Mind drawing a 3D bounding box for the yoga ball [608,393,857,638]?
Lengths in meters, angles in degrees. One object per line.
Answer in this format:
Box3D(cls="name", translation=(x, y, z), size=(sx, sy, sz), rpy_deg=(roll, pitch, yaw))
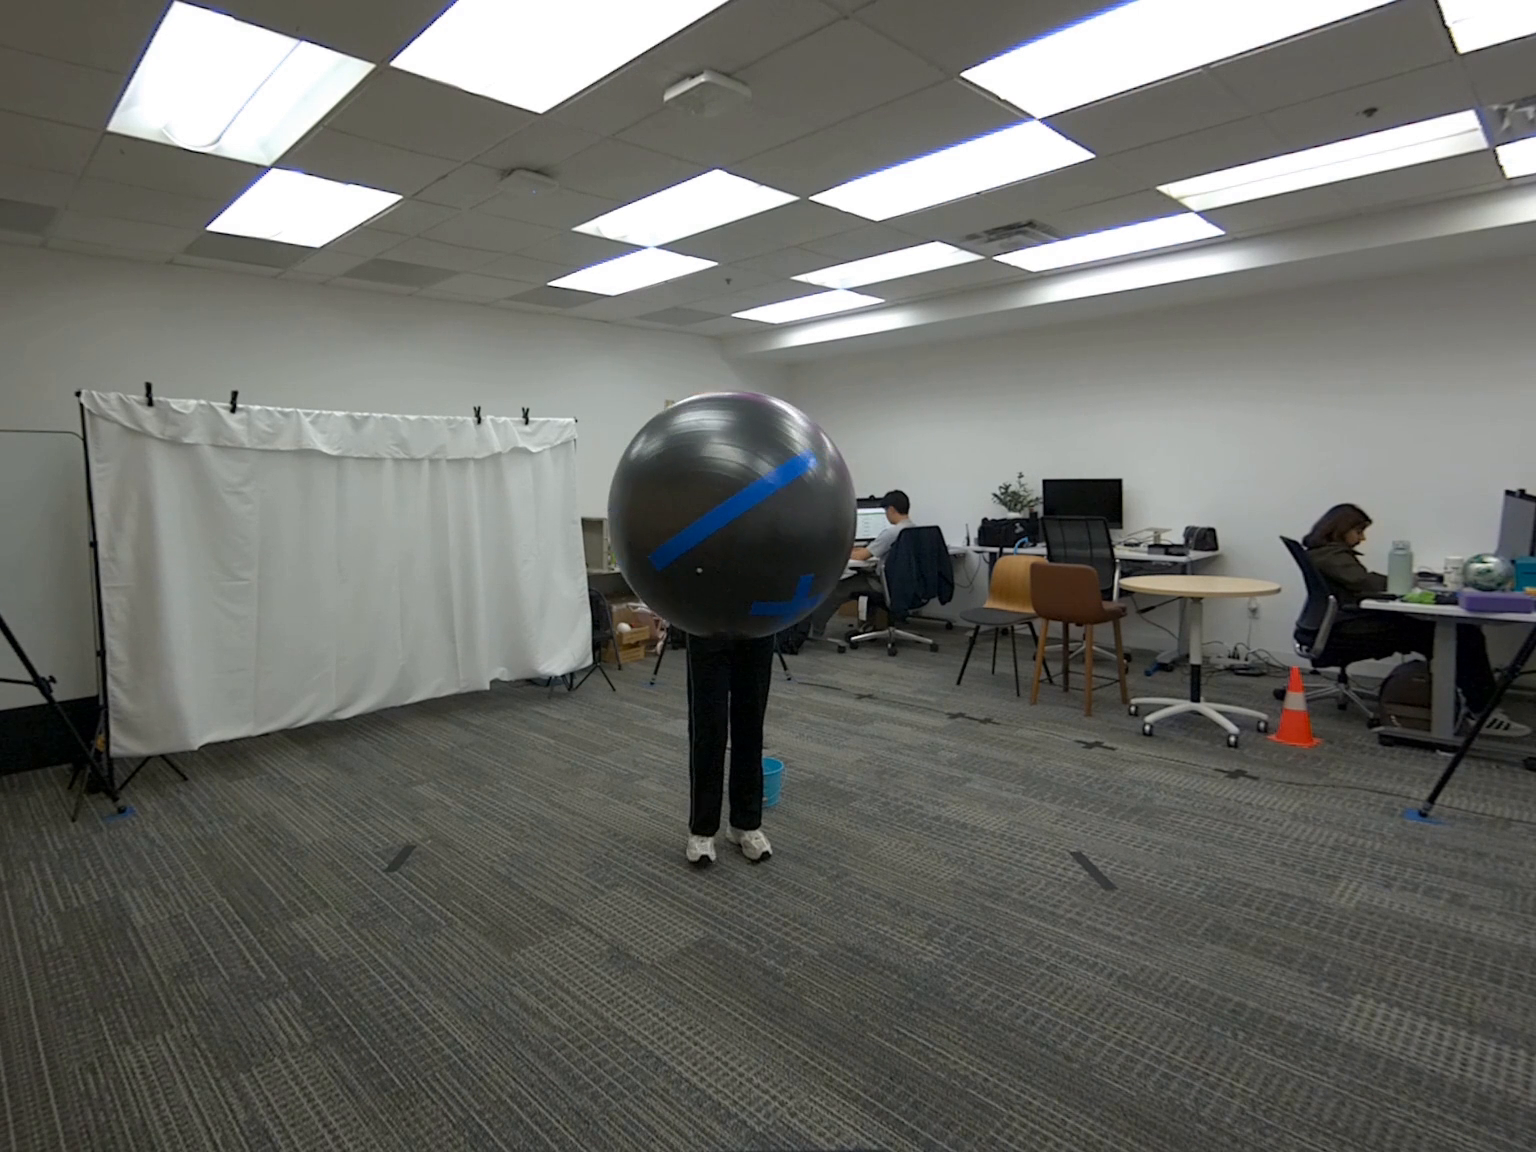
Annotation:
Box3D(cls="yoga ball", translation=(-0.114, -0.183, 2.606), size=(0.757, 0.755, 0.762), rpy_deg=(-1, 5, -2))
